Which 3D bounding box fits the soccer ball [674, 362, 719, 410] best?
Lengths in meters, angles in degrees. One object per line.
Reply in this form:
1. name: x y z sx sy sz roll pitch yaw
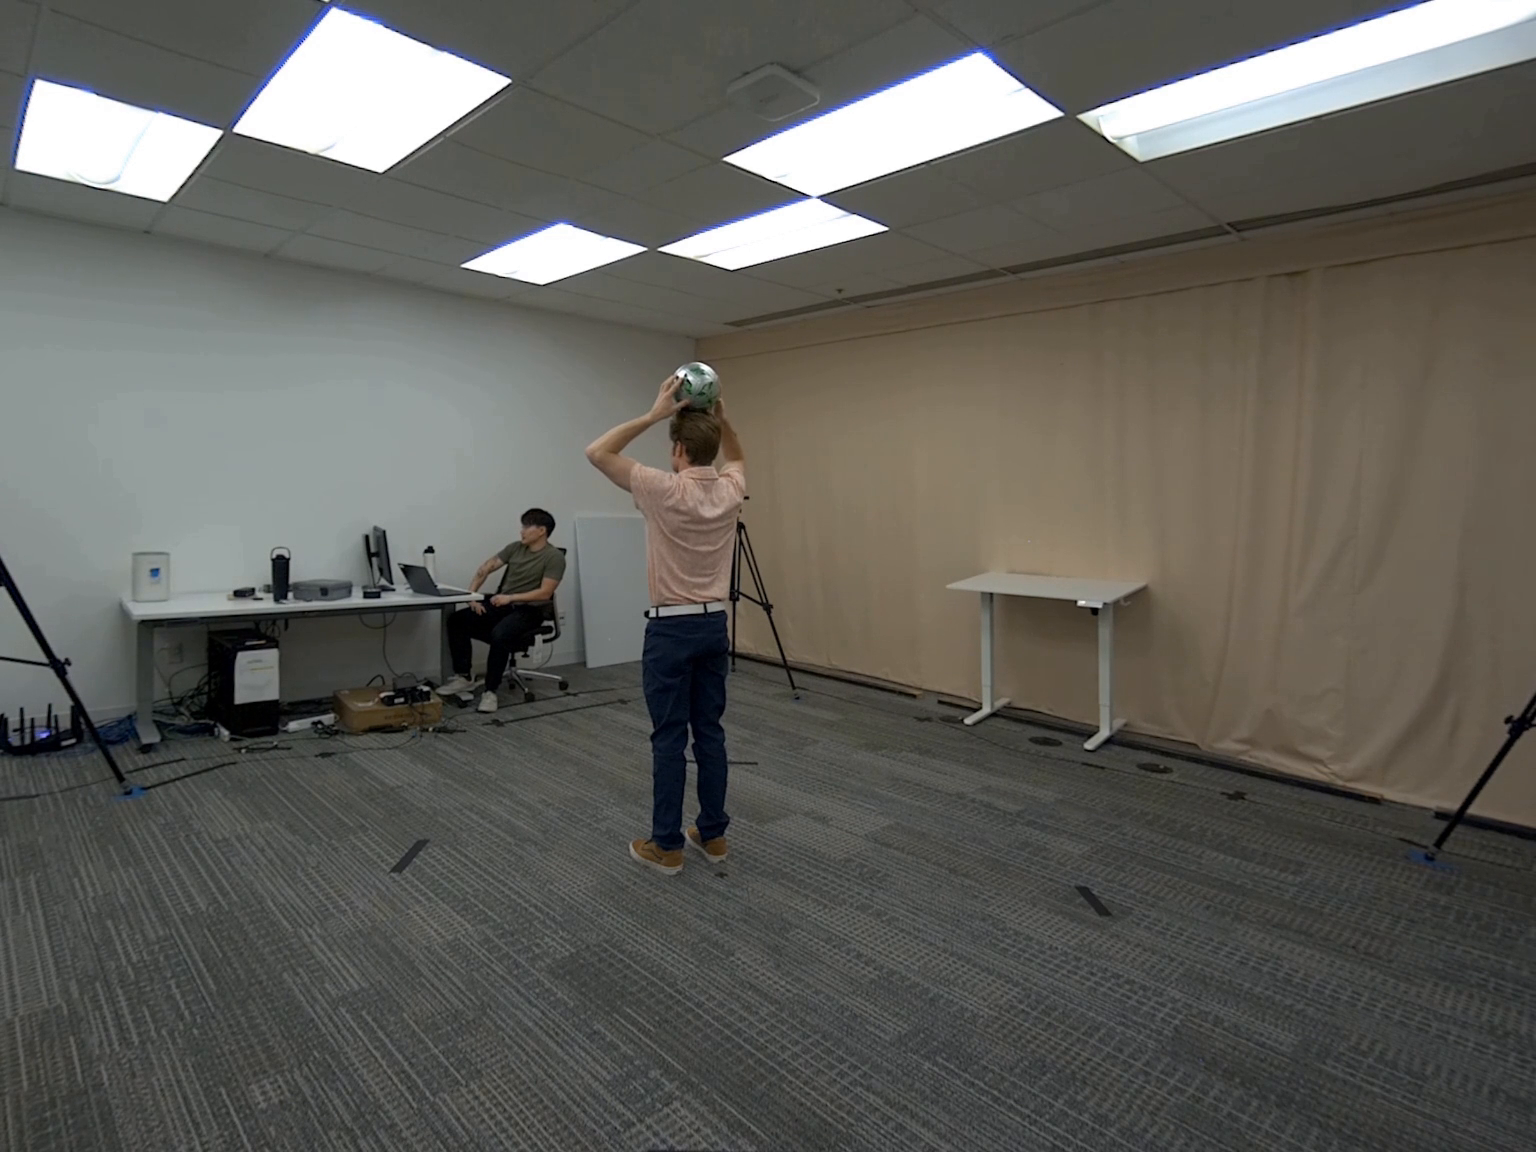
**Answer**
1. soccer ball: -0.286 -0.694 3.140 0.187 0.187 0.188 1 4 -1
